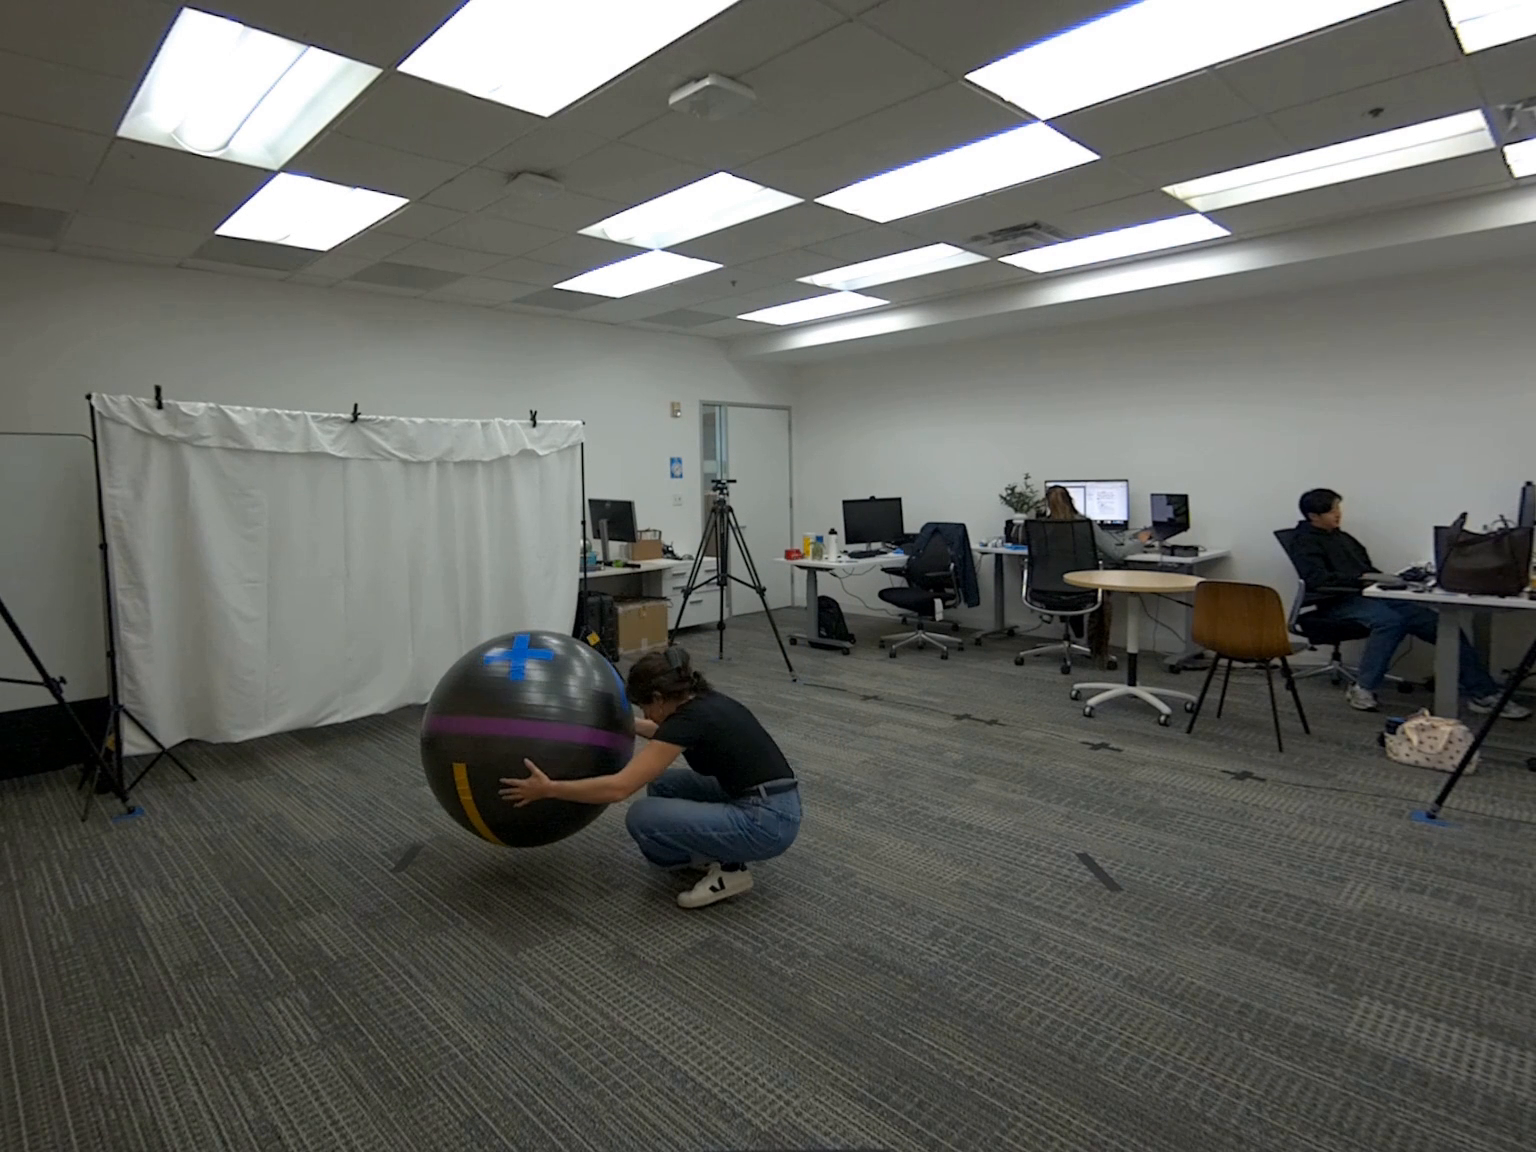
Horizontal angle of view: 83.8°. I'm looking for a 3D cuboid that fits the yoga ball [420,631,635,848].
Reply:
[{"bbox_3d":[-0.866,0.581,3.104,0.757,0.755,0.762,-1,5,-2],"label":"yoga ball"}]
